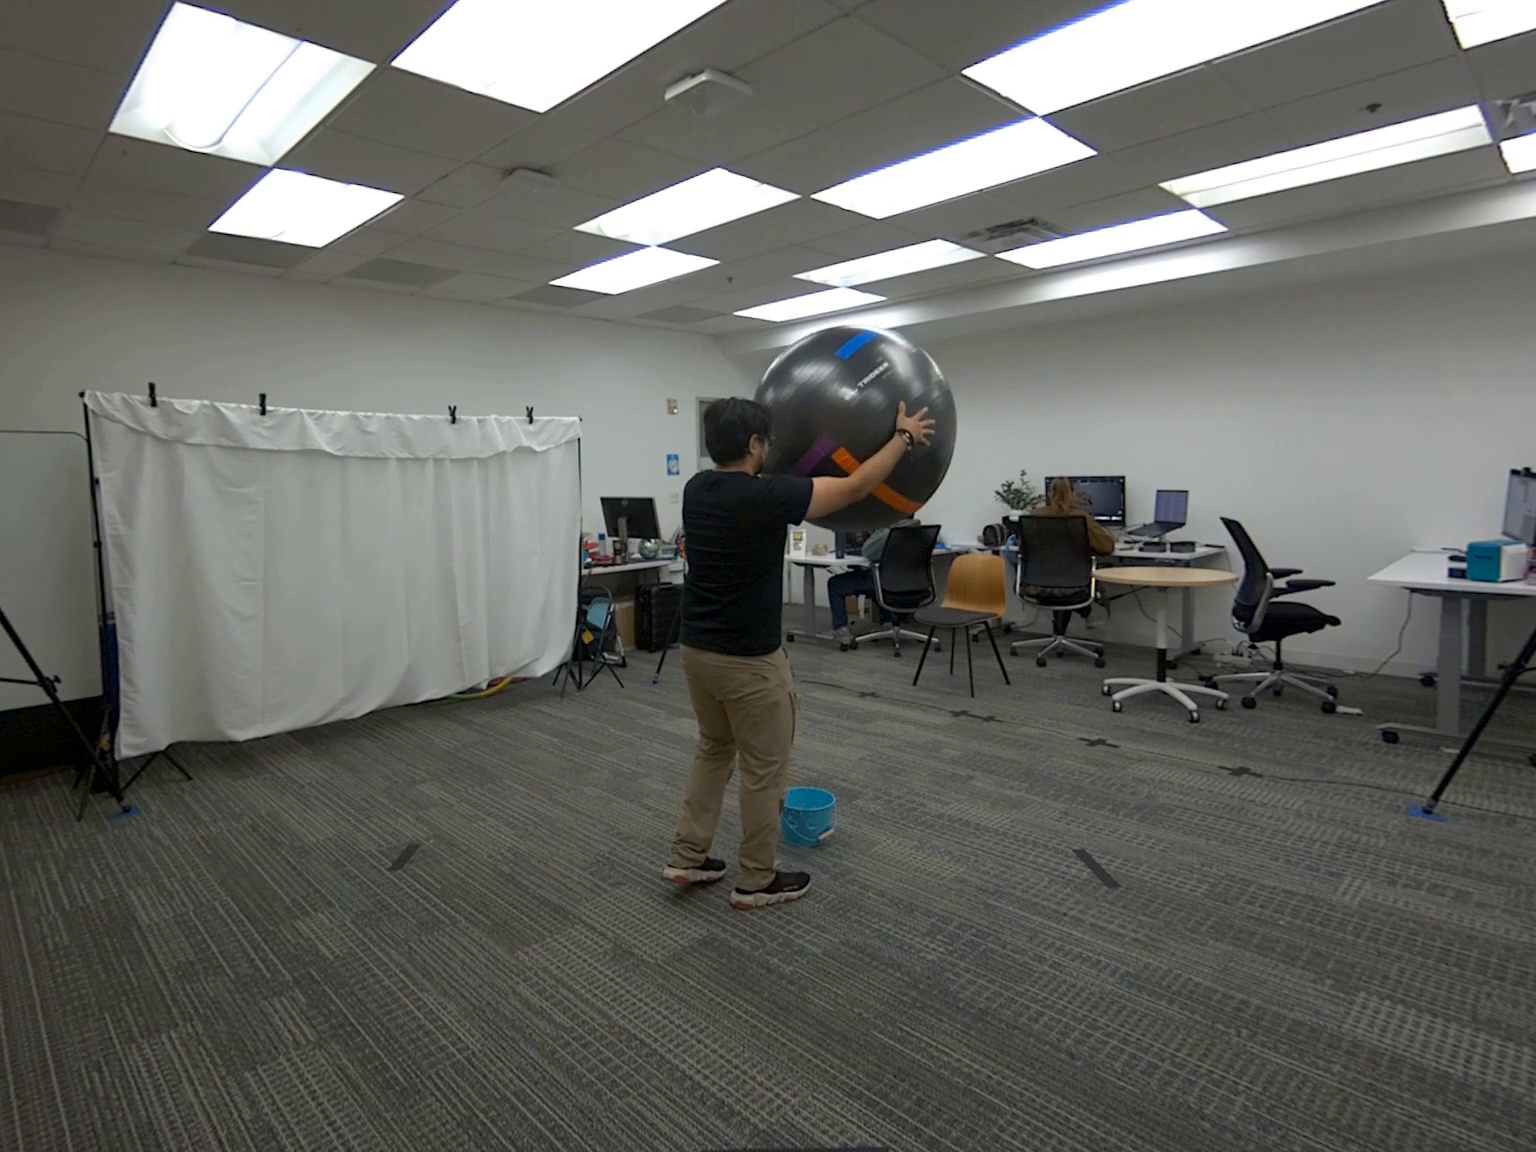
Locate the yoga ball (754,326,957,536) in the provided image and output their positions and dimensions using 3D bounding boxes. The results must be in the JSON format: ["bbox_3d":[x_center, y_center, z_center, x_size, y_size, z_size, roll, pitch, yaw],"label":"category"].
[{"bbox_3d":[0.307,-0.534,3.153,0.757,0.755,0.762,-1,5,-2],"label":"yoga ball"}]
